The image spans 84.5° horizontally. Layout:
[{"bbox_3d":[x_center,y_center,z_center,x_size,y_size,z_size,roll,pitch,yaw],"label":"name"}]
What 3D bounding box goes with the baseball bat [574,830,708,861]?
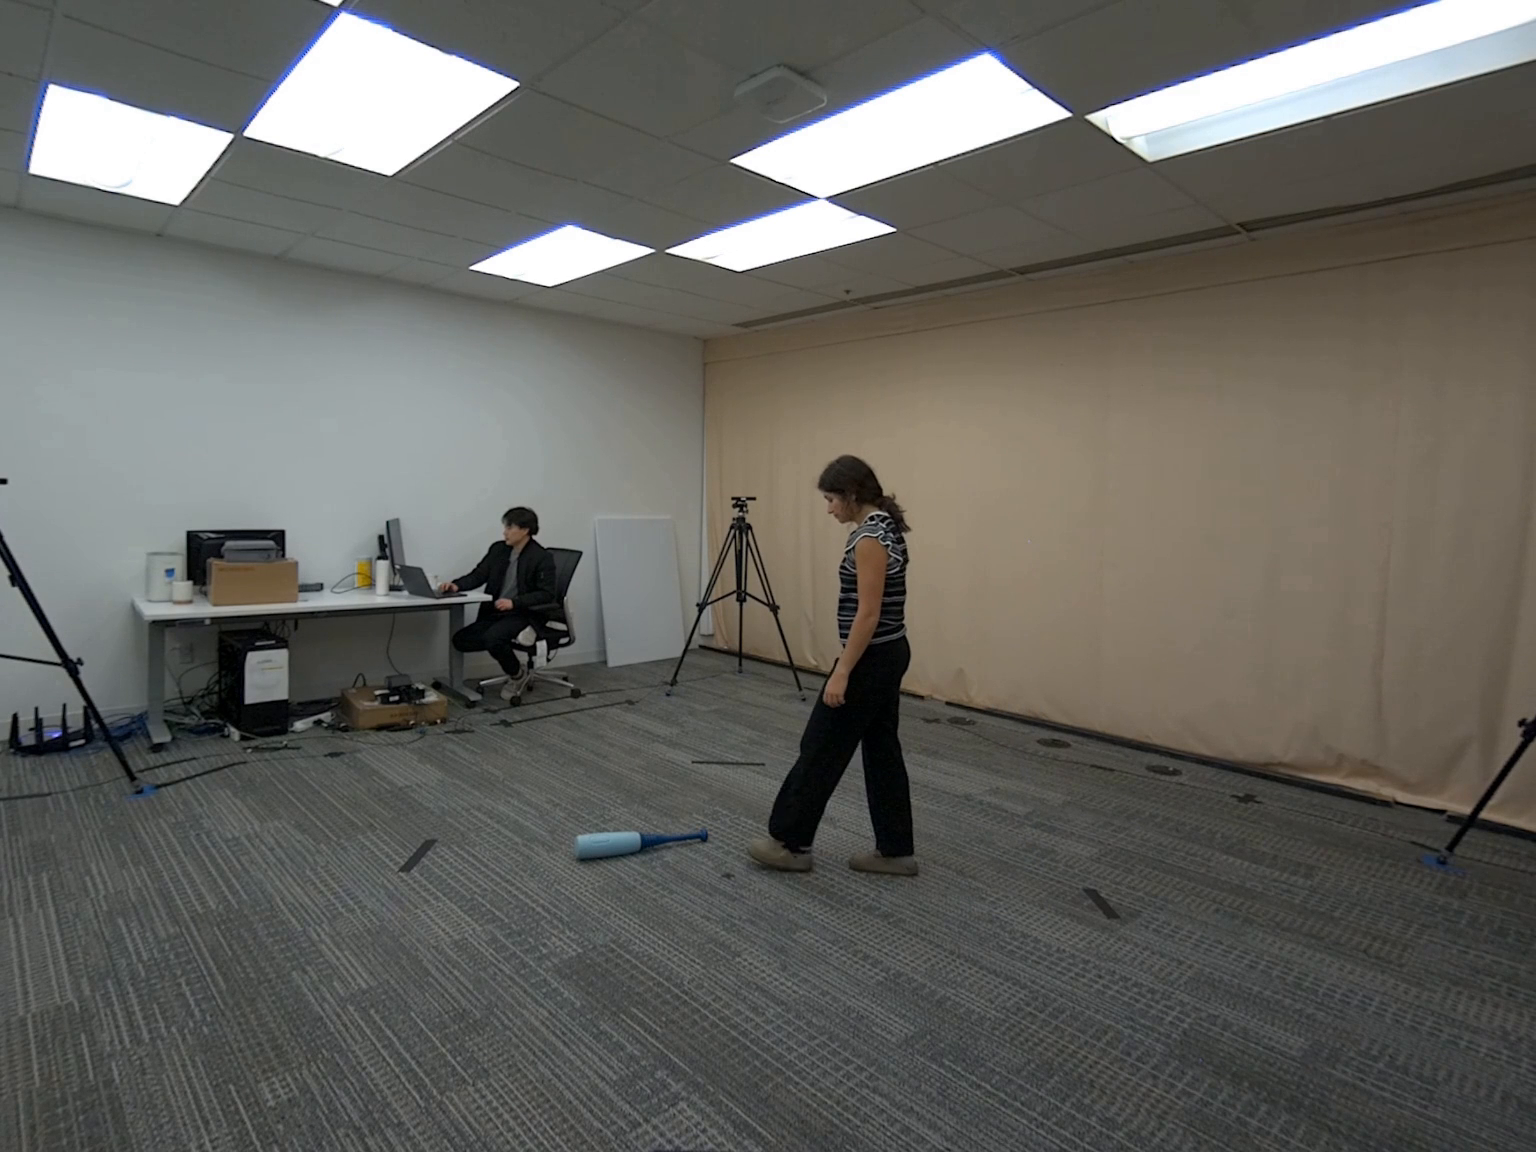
[{"bbox_3d":[-0.495,1.041,3.309,0.533,0.089,0.091,3,3,-23],"label":"baseball bat"}]
